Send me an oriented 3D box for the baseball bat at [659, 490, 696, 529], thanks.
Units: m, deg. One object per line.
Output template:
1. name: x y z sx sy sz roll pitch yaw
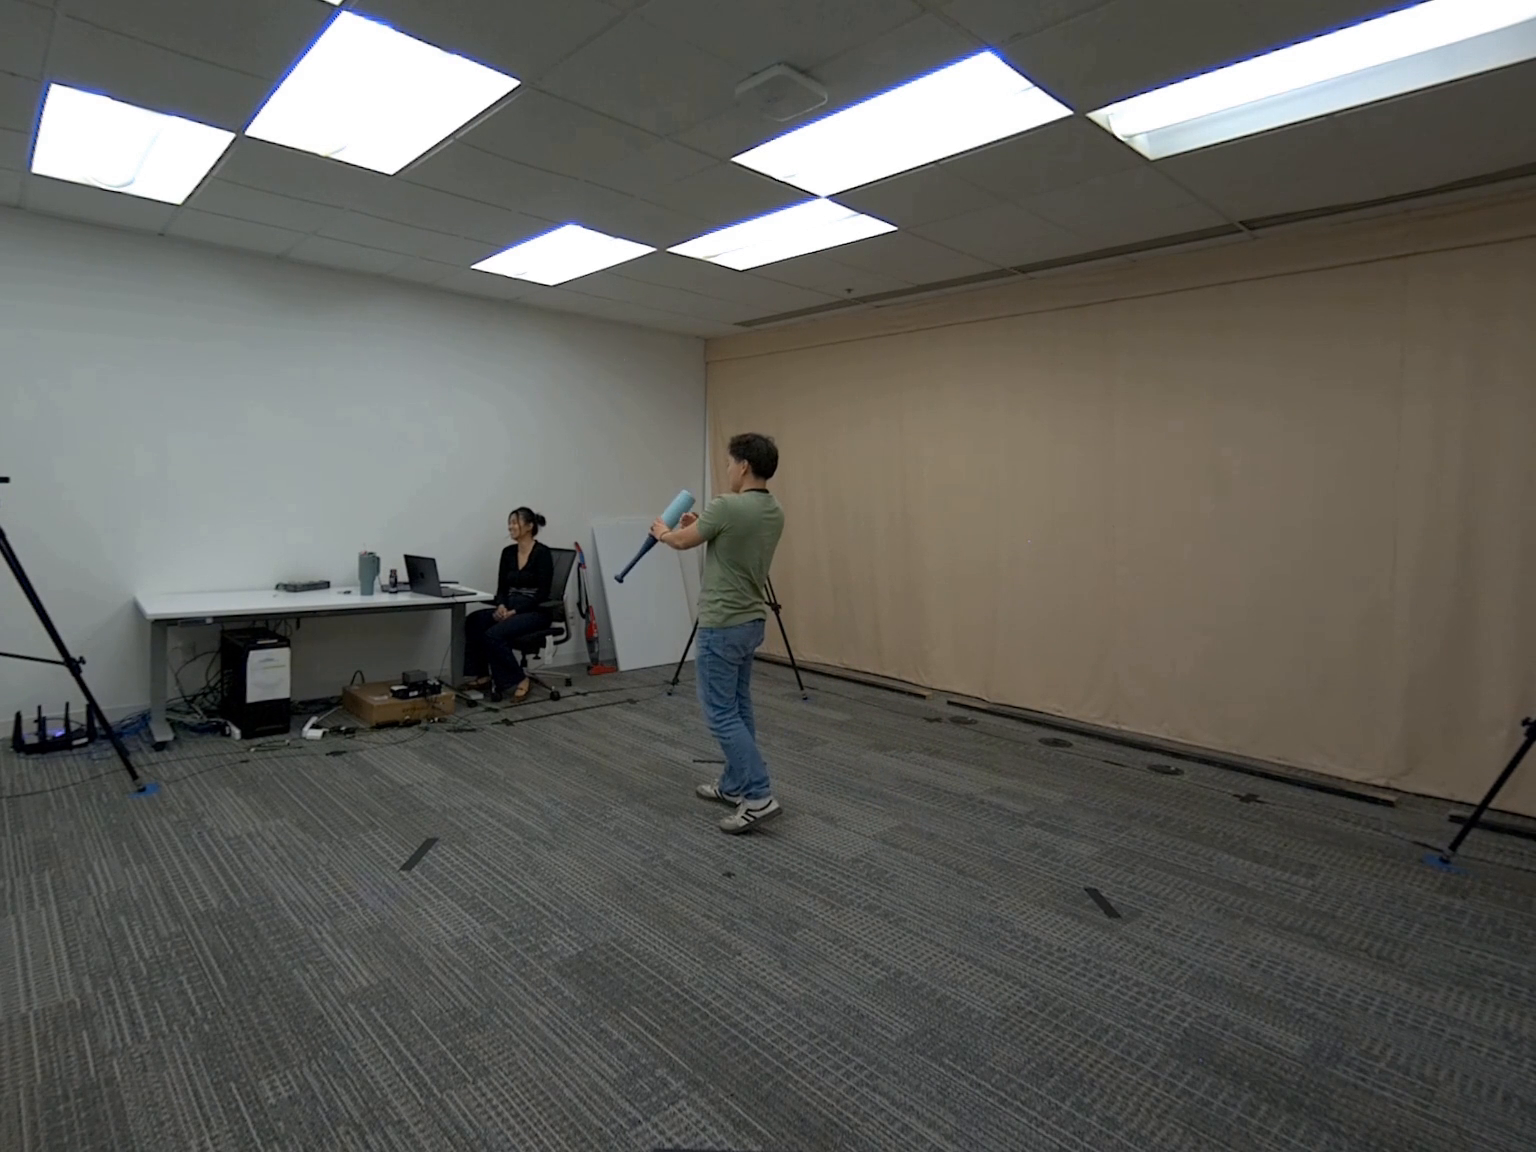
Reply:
1. baseball bat: -0.539 -0.175 4.002 0.089 0.543 0.088 38 -8 4
